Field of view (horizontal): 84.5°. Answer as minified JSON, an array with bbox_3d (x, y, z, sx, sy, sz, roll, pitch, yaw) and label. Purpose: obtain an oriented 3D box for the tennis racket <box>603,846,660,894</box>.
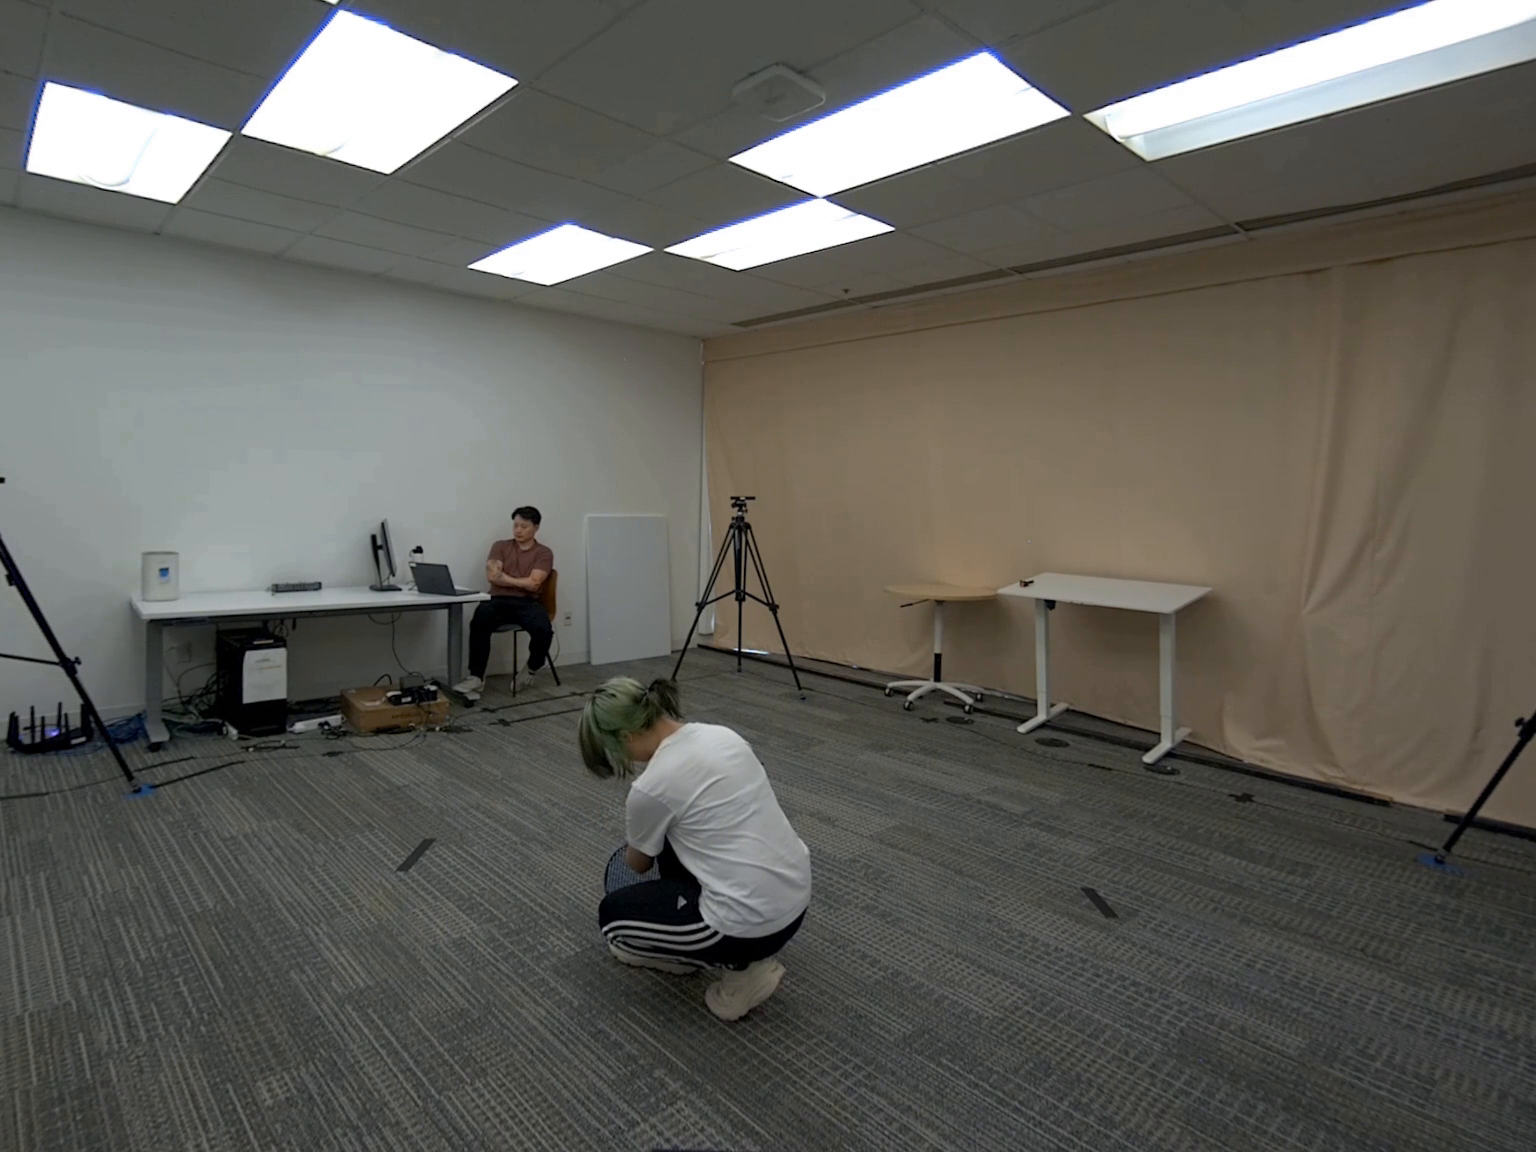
[{"bbox_3d":[-0.424,0.931,2.730,0.215,0.430,0.032,10,9,8],"label":"tennis racket"}]
